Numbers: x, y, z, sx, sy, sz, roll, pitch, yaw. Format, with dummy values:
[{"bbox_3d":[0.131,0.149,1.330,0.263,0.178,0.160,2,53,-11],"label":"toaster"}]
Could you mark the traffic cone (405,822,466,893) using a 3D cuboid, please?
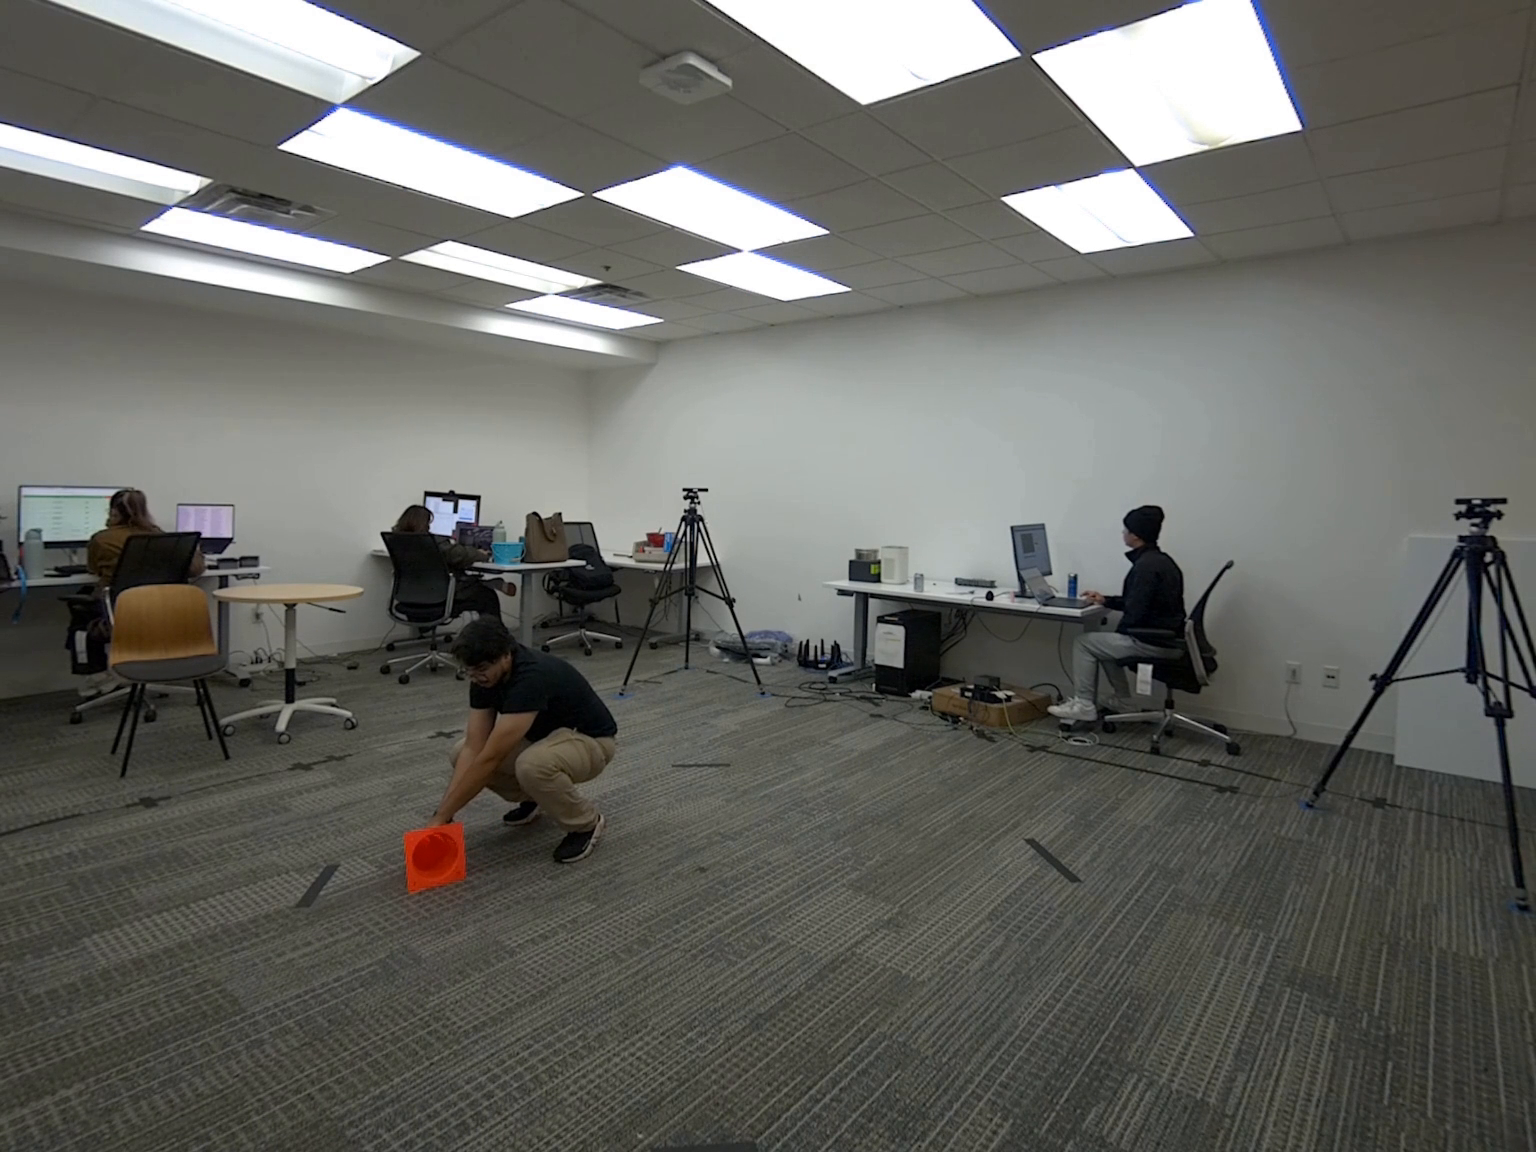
[{"bbox_3d":[-1.282,1.012,3.120,0.199,0.205,0.390,-1,-10,-33],"label":"traffic cone"}]
